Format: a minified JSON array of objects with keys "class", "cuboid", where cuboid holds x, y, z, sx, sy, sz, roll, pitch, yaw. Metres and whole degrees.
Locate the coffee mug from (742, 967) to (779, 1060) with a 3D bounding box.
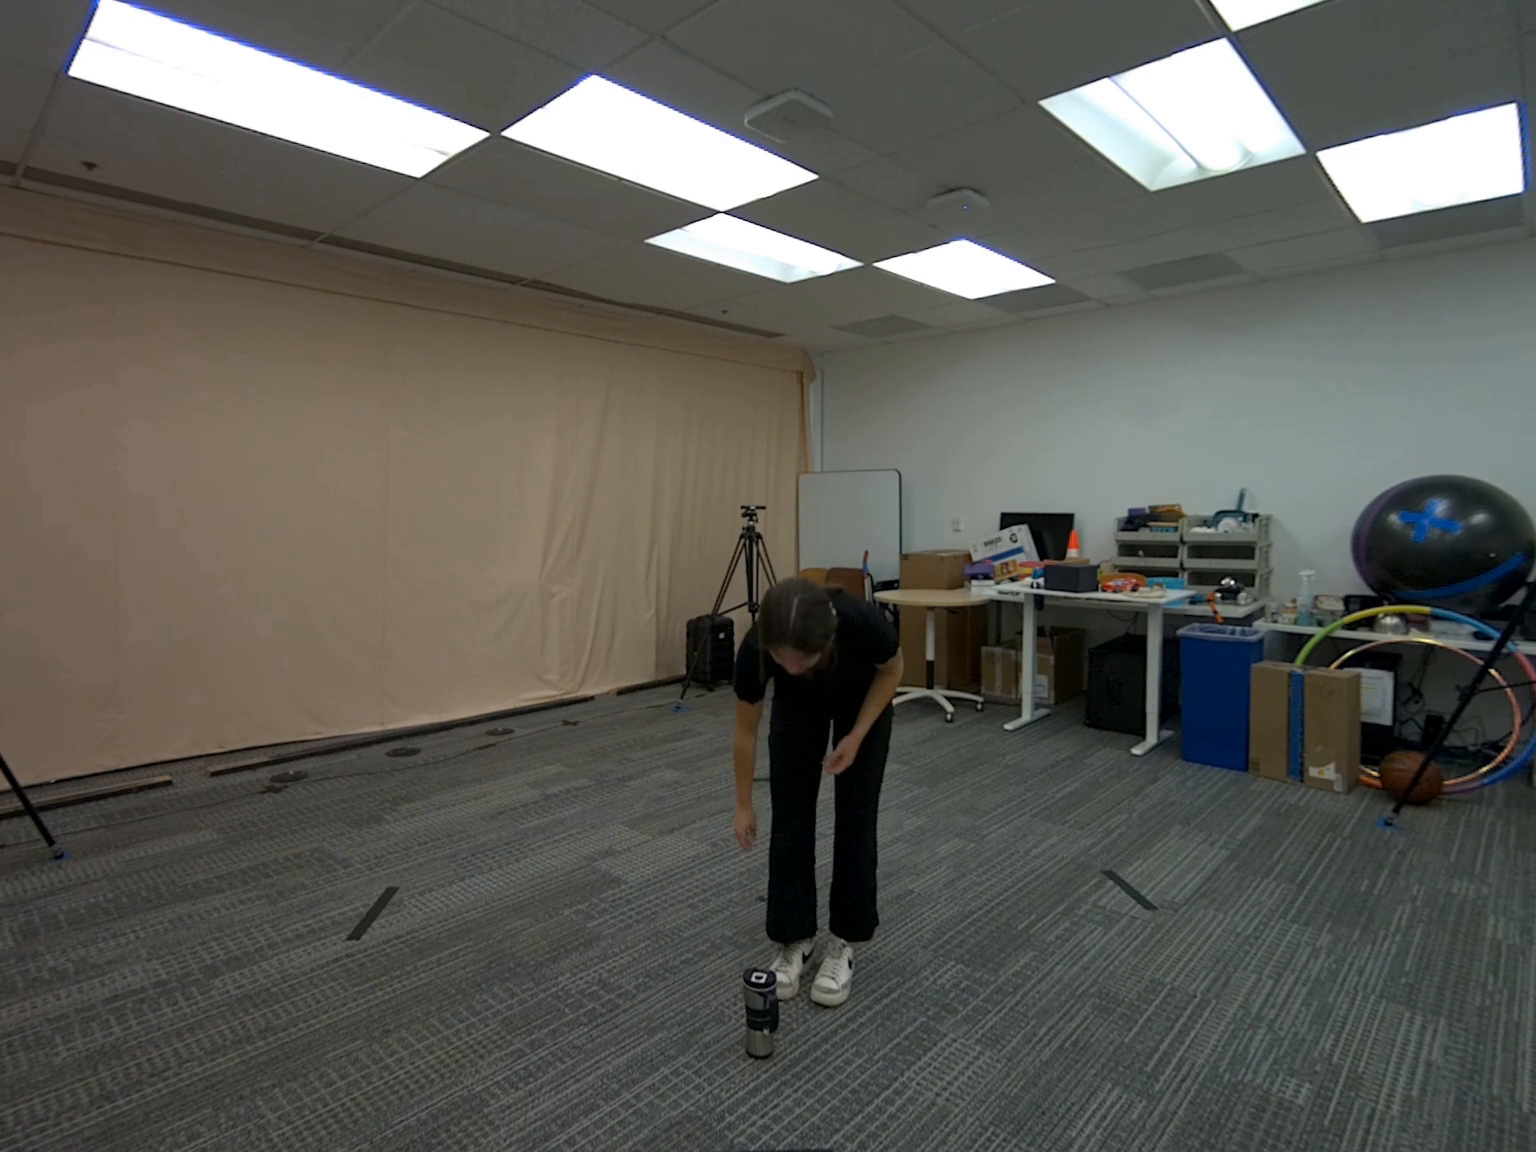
[{"class":"coffee mug","cuboid":[-0.022,1.122,2.122,0.090,0.203,0.120,5,3,17]}]
